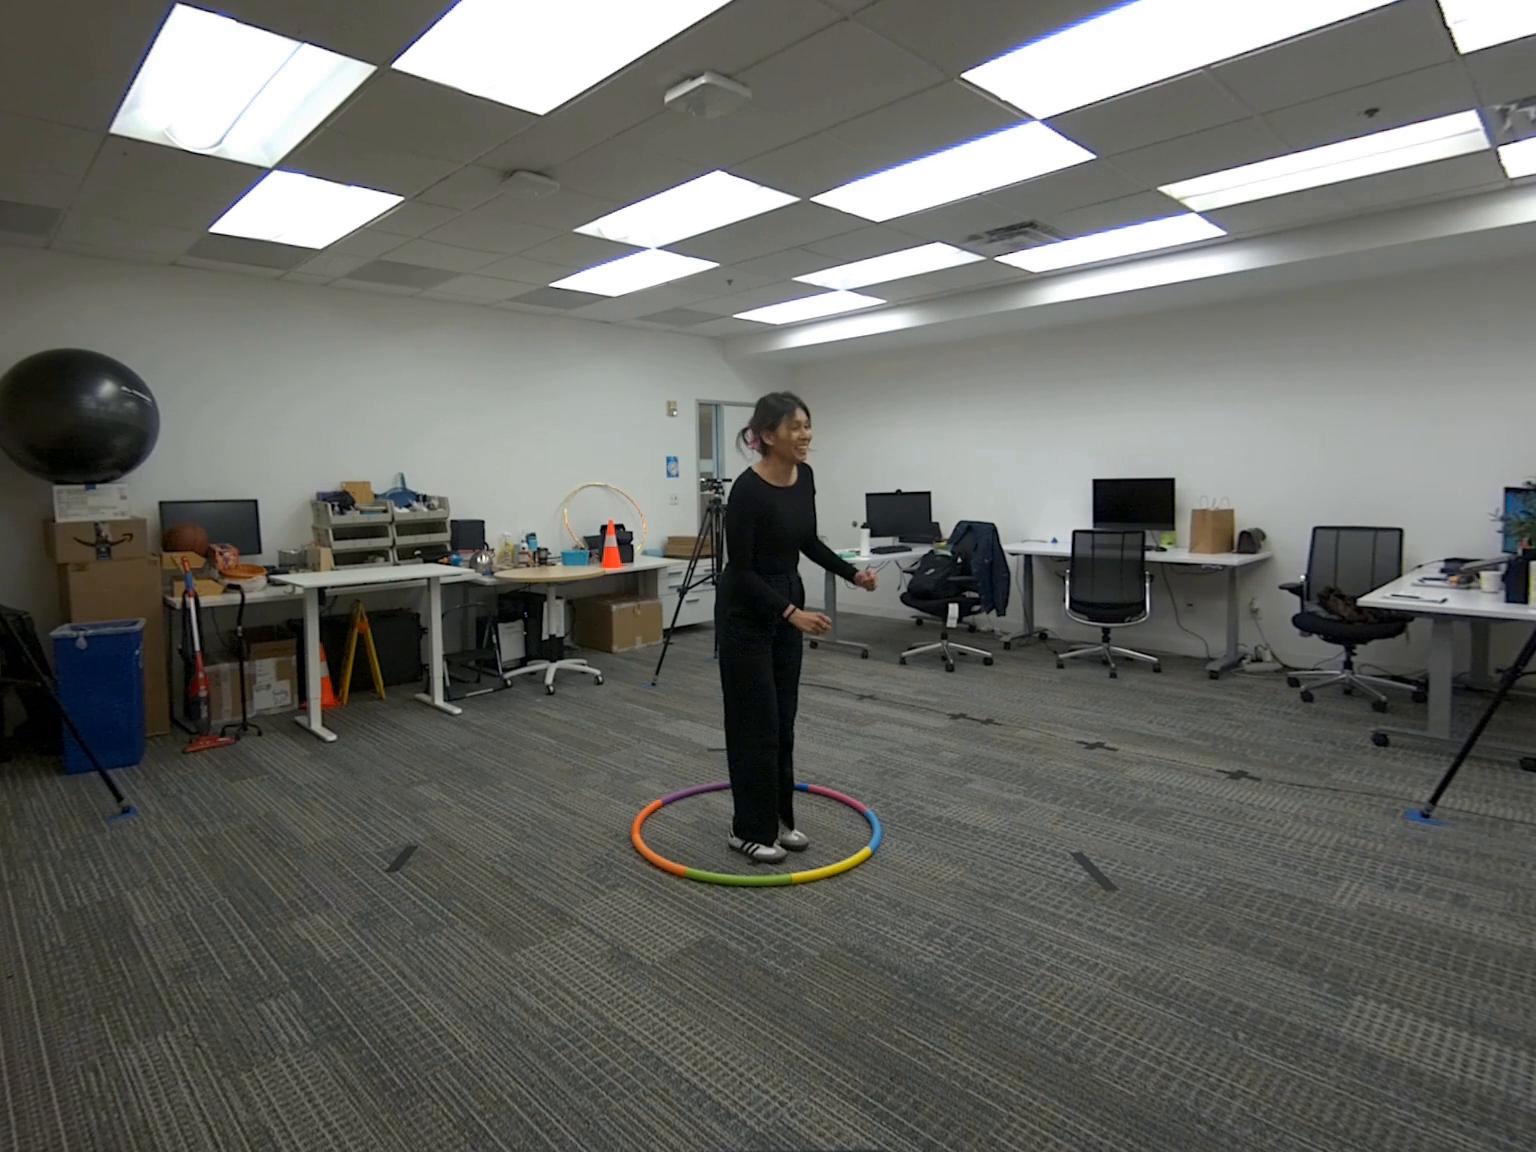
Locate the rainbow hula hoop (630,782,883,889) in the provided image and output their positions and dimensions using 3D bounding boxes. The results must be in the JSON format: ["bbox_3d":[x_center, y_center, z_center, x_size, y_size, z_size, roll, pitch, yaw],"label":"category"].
[{"bbox_3d":[-0.046,0.983,3.400,0.978,0.035,0.984,-1,6,-2],"label":"rainbow hula hoop"}]
